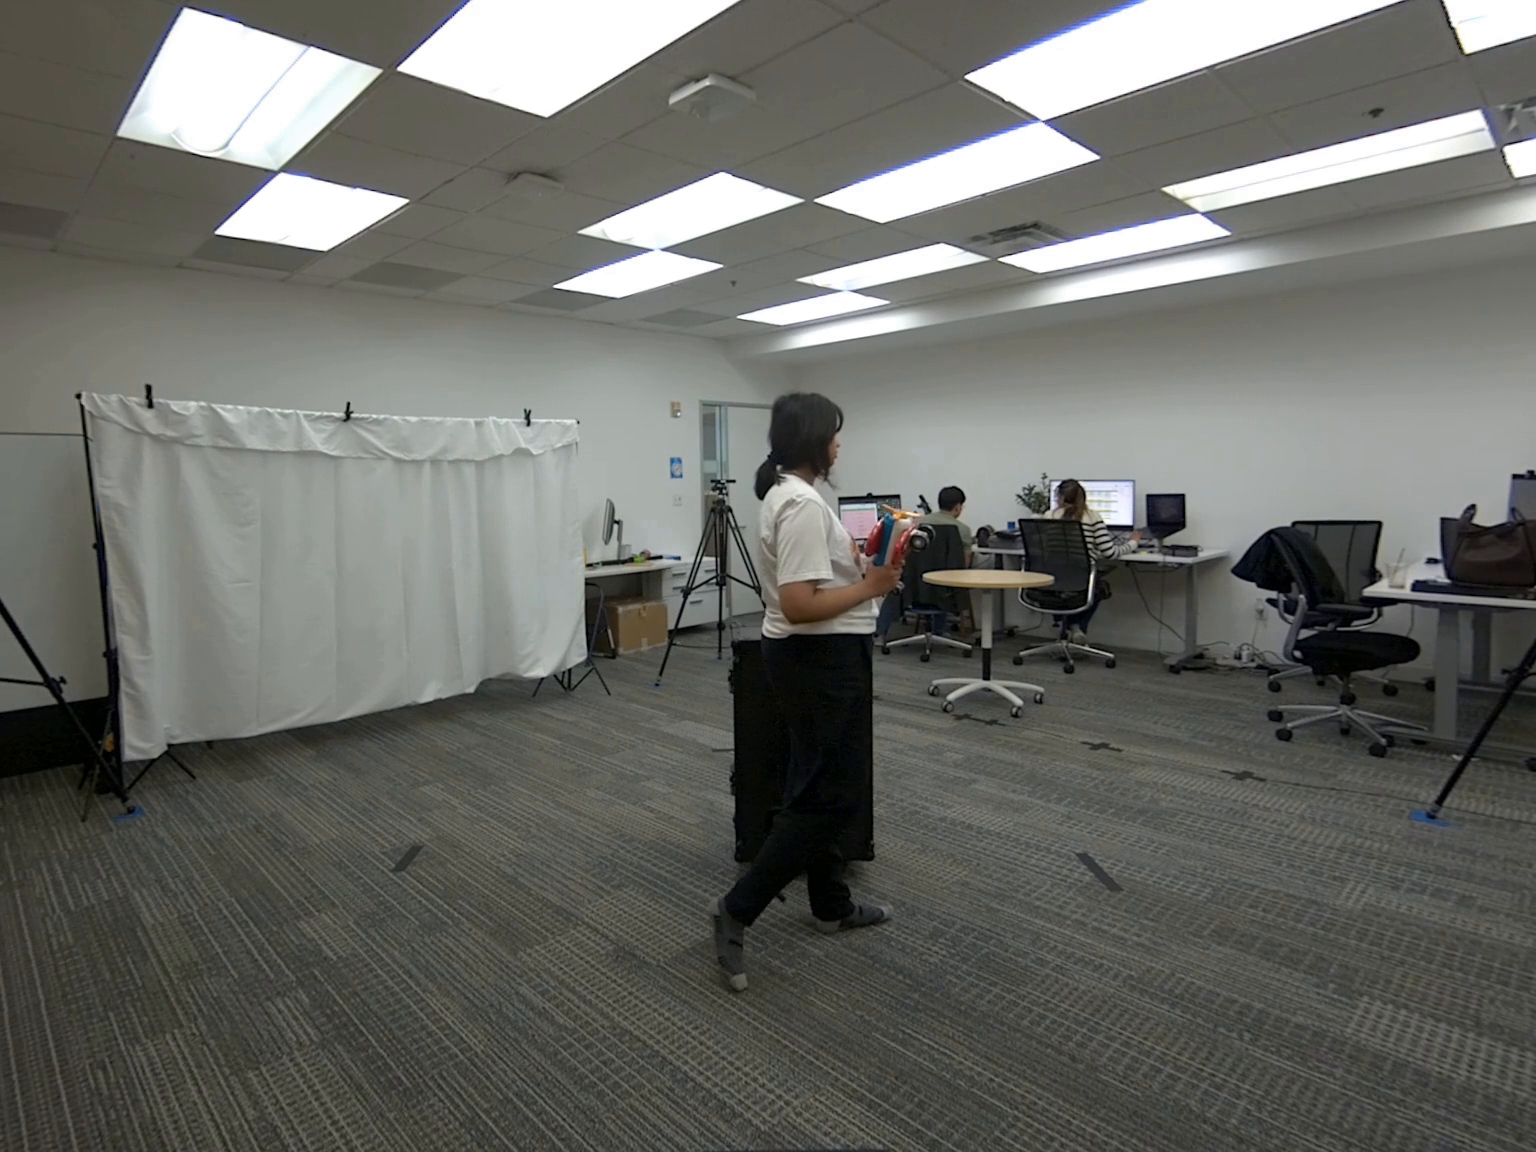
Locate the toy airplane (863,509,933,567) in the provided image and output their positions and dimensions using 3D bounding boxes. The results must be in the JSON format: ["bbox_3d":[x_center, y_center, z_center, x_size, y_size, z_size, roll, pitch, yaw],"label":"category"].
[{"bbox_3d":[0.356,-0.061,2.450,0.159,0.259,0.247,32,-3,11],"label":"toy airplane"}]
